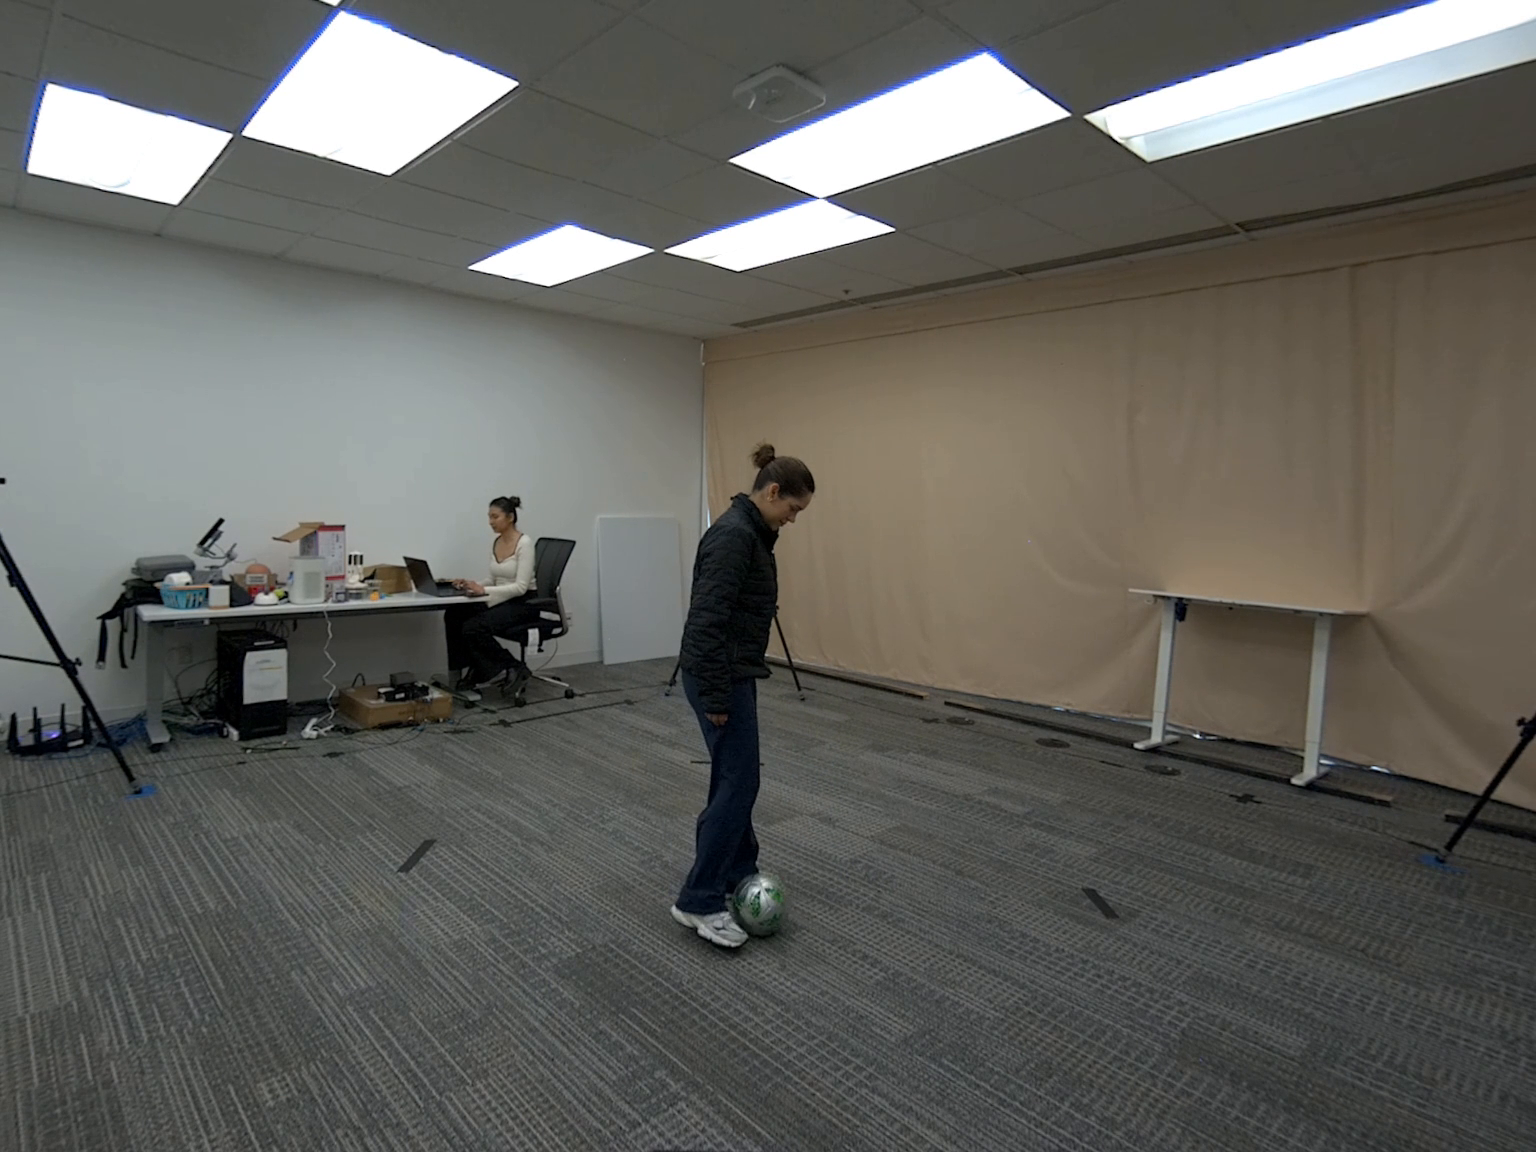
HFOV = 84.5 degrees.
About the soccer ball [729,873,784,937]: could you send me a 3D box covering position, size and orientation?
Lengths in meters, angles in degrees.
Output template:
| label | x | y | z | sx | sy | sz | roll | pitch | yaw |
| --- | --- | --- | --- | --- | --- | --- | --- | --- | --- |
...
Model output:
| label | x | y | z | sx | sy | sz | roll | pitch | yaw |
| --- | --- | --- | --- | --- | --- | --- | --- | --- | --- |
| soccer ball | -0.029 | 1.053 | 2.694 | 0.187 | 0.187 | 0.188 | 1 | 4 | -1 |
